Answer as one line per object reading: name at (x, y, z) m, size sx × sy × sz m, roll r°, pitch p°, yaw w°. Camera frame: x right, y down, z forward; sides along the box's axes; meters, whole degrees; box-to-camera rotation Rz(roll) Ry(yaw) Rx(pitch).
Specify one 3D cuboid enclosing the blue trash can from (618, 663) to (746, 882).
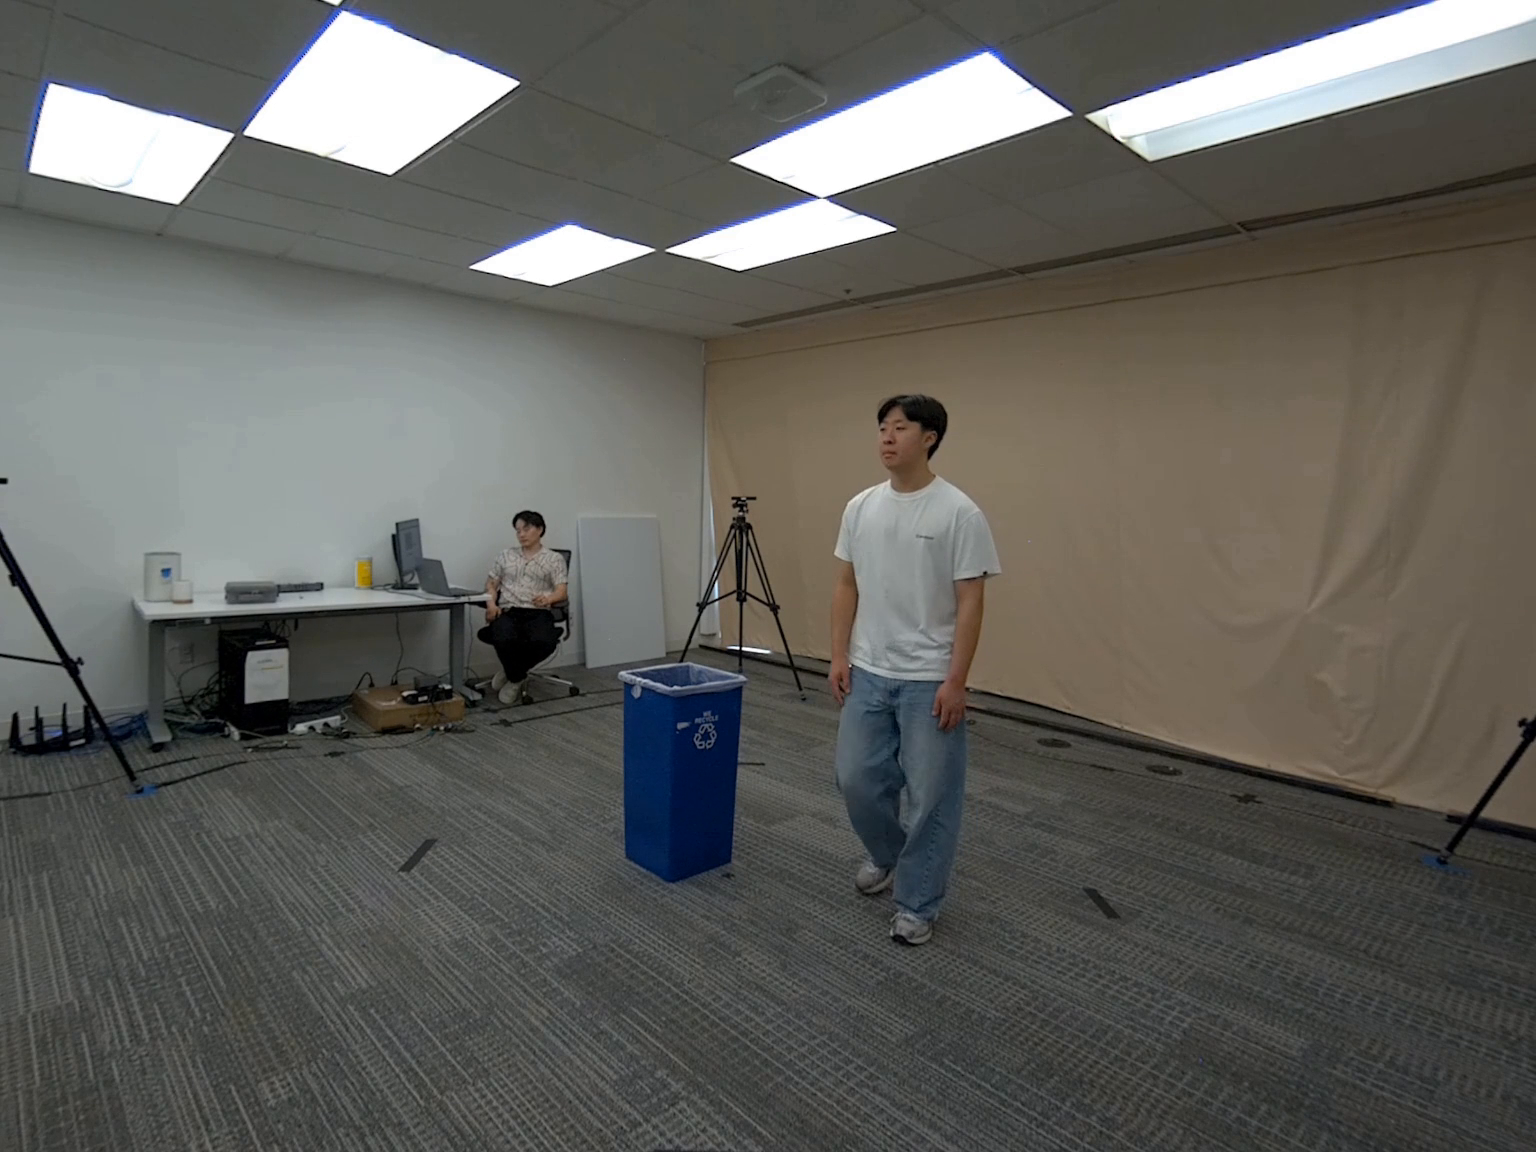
blue trash can at (-0.339, 0.732, 3.229) m, size 0.365 × 0.712 × 0.388 m, roll -2°, pitch 5°, yaw -42°
